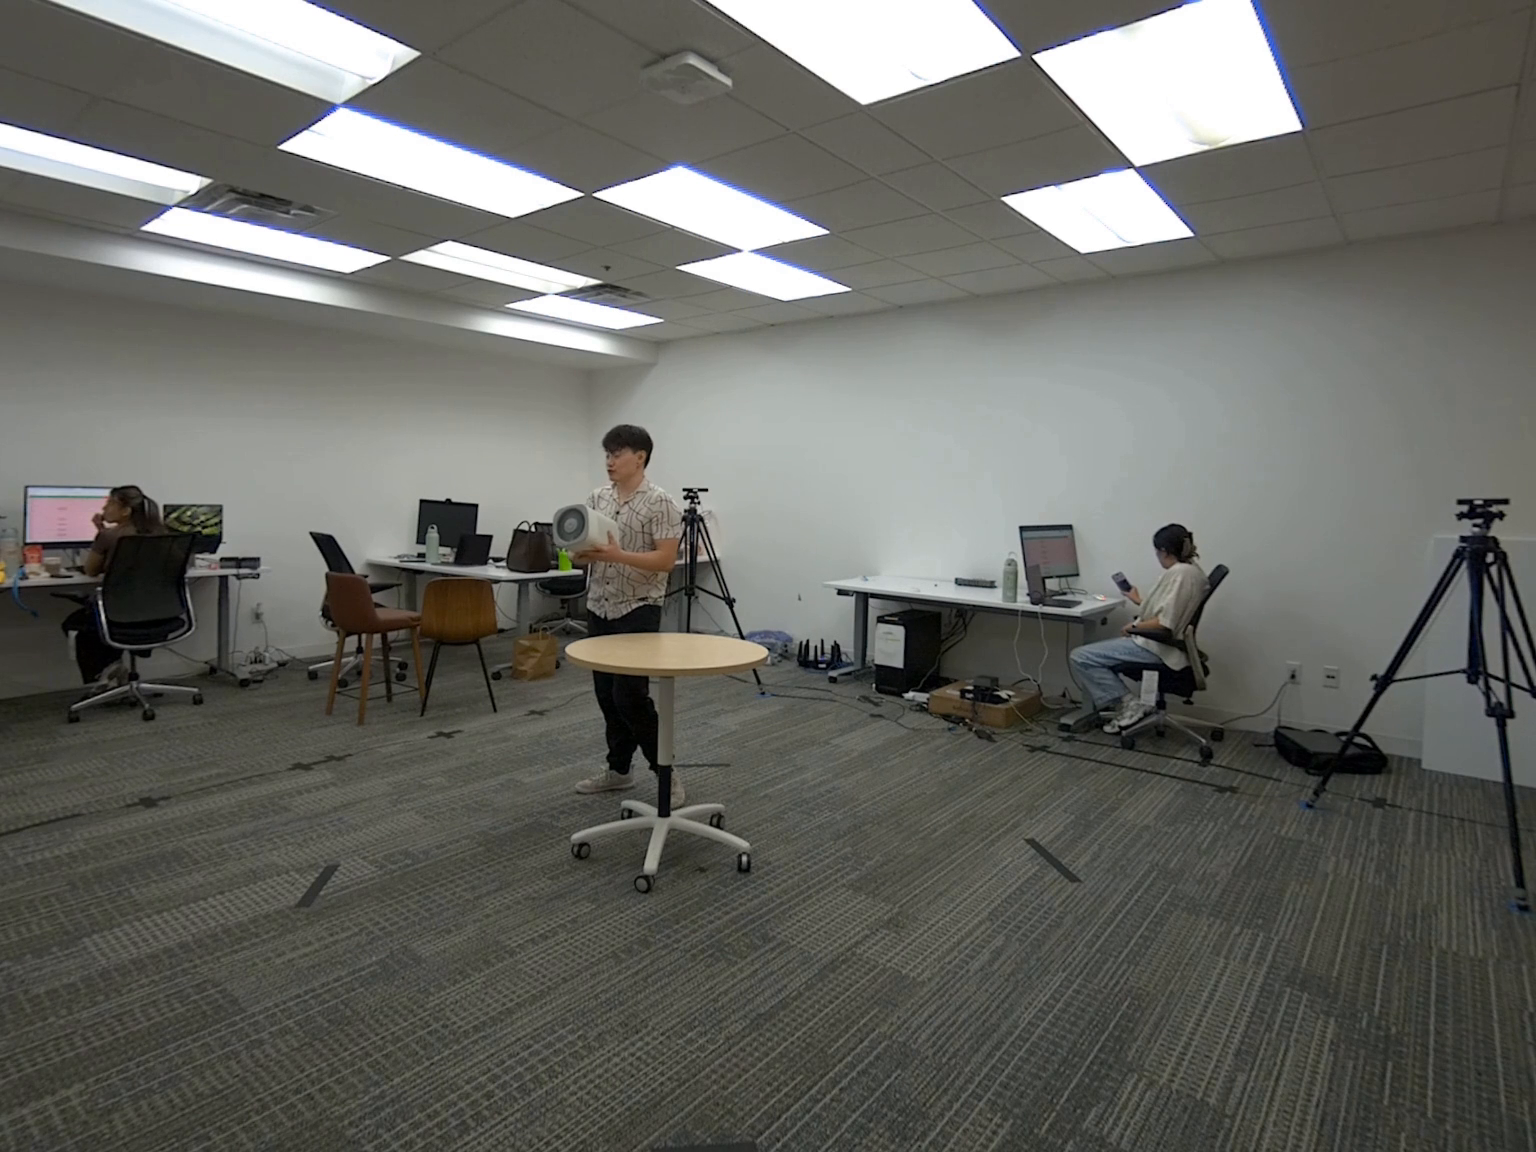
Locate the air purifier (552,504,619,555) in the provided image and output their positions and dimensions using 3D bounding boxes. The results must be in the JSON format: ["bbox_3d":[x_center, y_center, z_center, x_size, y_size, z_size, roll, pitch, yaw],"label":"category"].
[{"bbox_3d":[-0.775,-0.186,3.561,0.174,0.174,0.256,-11,-17,20],"label":"air purifier"}]
